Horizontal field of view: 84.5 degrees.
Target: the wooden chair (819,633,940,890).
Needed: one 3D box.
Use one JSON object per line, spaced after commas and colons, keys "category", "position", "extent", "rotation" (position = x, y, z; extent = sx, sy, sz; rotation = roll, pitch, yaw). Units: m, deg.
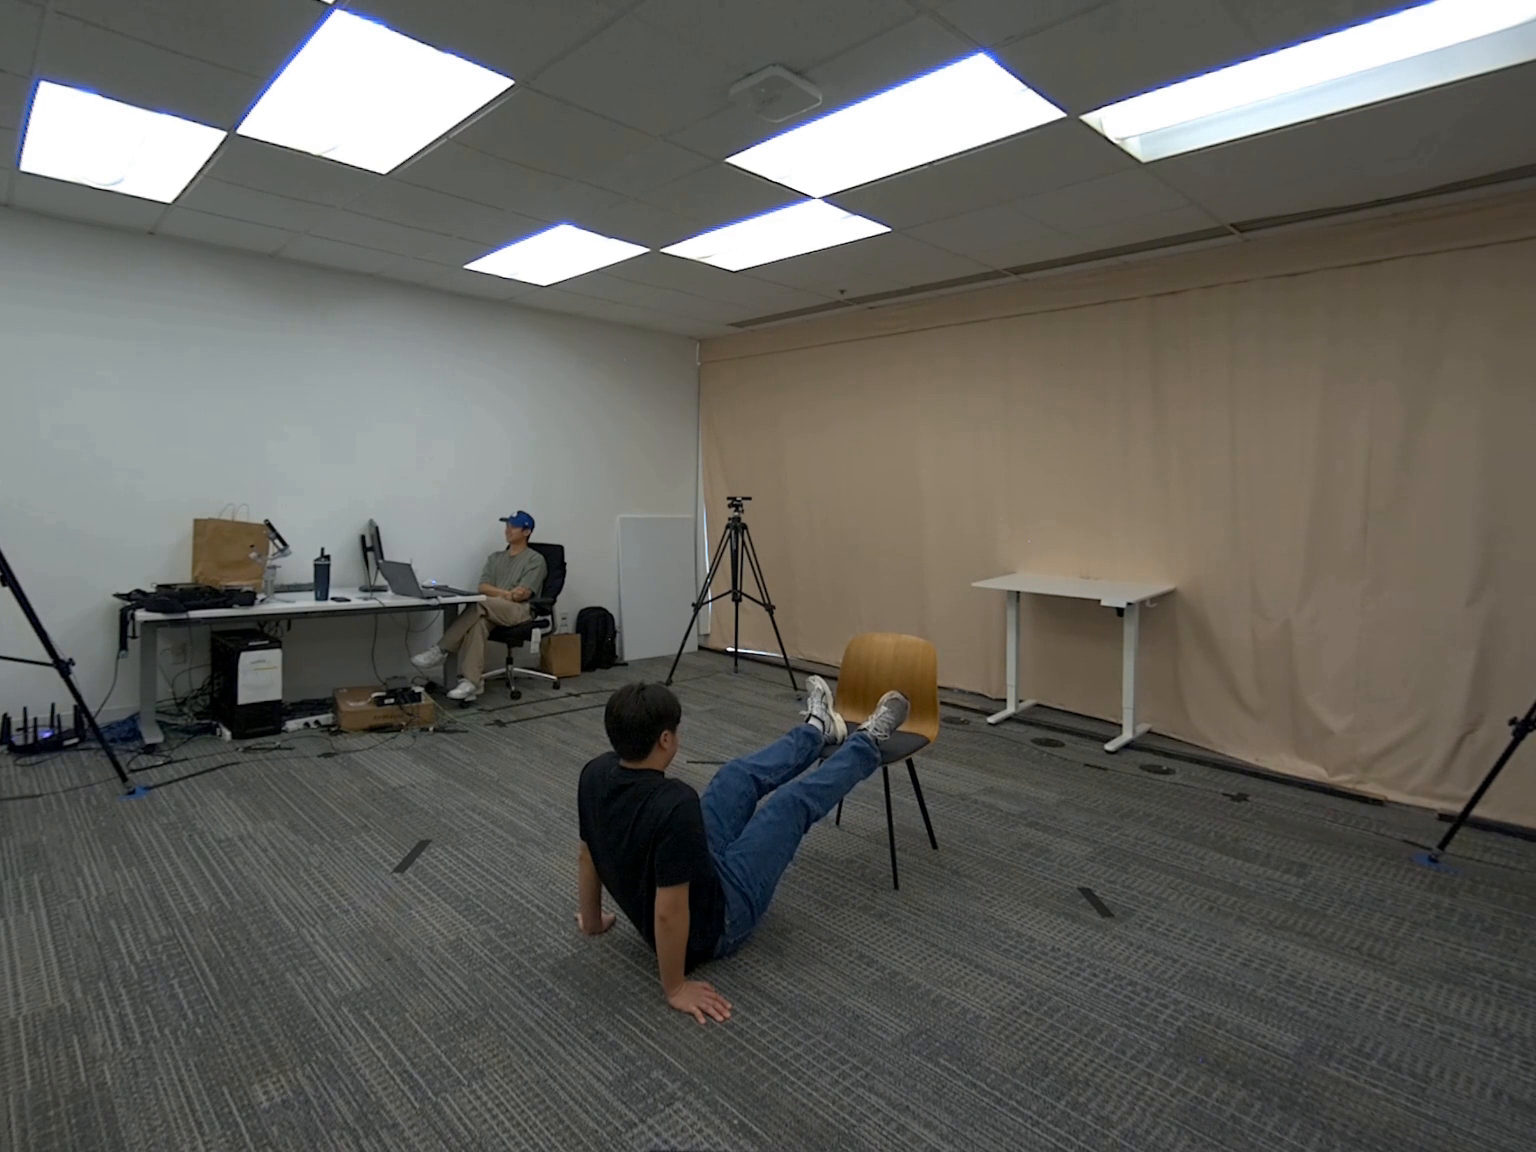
{"category": "wooden chair", "position": [0.383, 0.676, 3.293], "extent": [0.489, 0.878, 0.511], "rotation": [3, 0, 31]}
